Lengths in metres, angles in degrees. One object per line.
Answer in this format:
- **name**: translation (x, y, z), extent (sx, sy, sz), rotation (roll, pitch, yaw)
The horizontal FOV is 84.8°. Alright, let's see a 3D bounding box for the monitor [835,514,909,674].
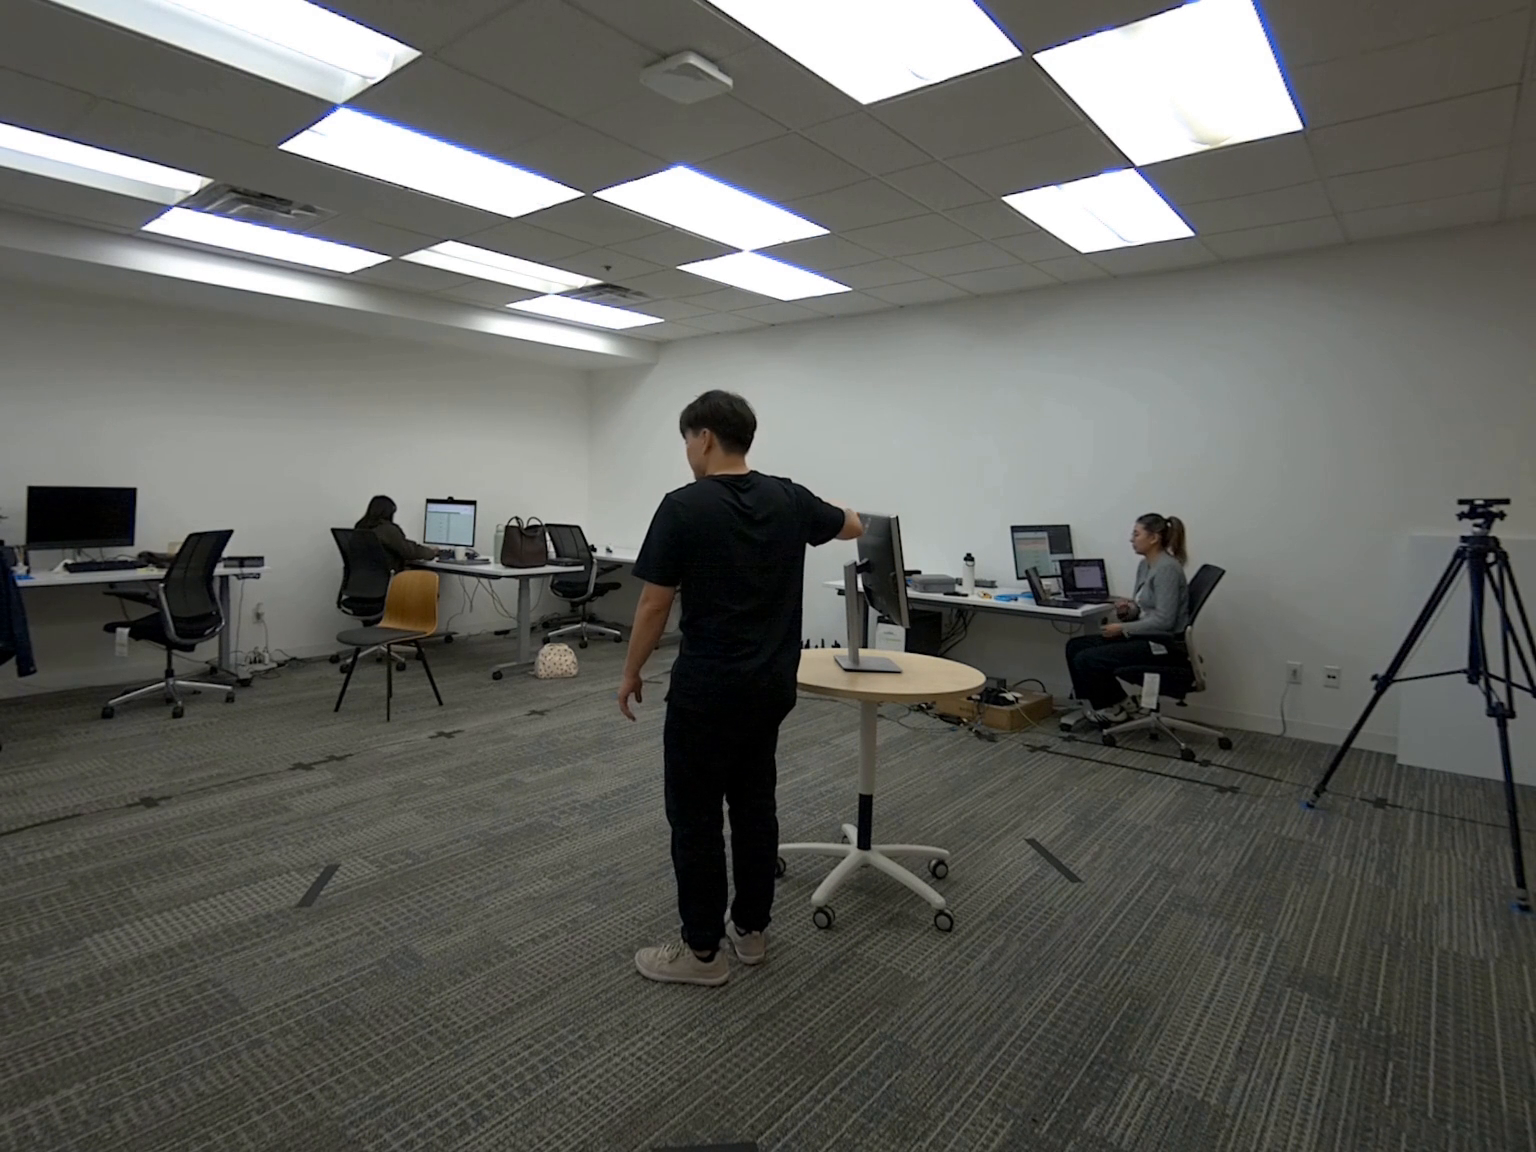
- **monitor**: translation (0.348, 0.052, 2.996), extent (0.186, 0.521, 0.544), rotation (3, 4, -7)
